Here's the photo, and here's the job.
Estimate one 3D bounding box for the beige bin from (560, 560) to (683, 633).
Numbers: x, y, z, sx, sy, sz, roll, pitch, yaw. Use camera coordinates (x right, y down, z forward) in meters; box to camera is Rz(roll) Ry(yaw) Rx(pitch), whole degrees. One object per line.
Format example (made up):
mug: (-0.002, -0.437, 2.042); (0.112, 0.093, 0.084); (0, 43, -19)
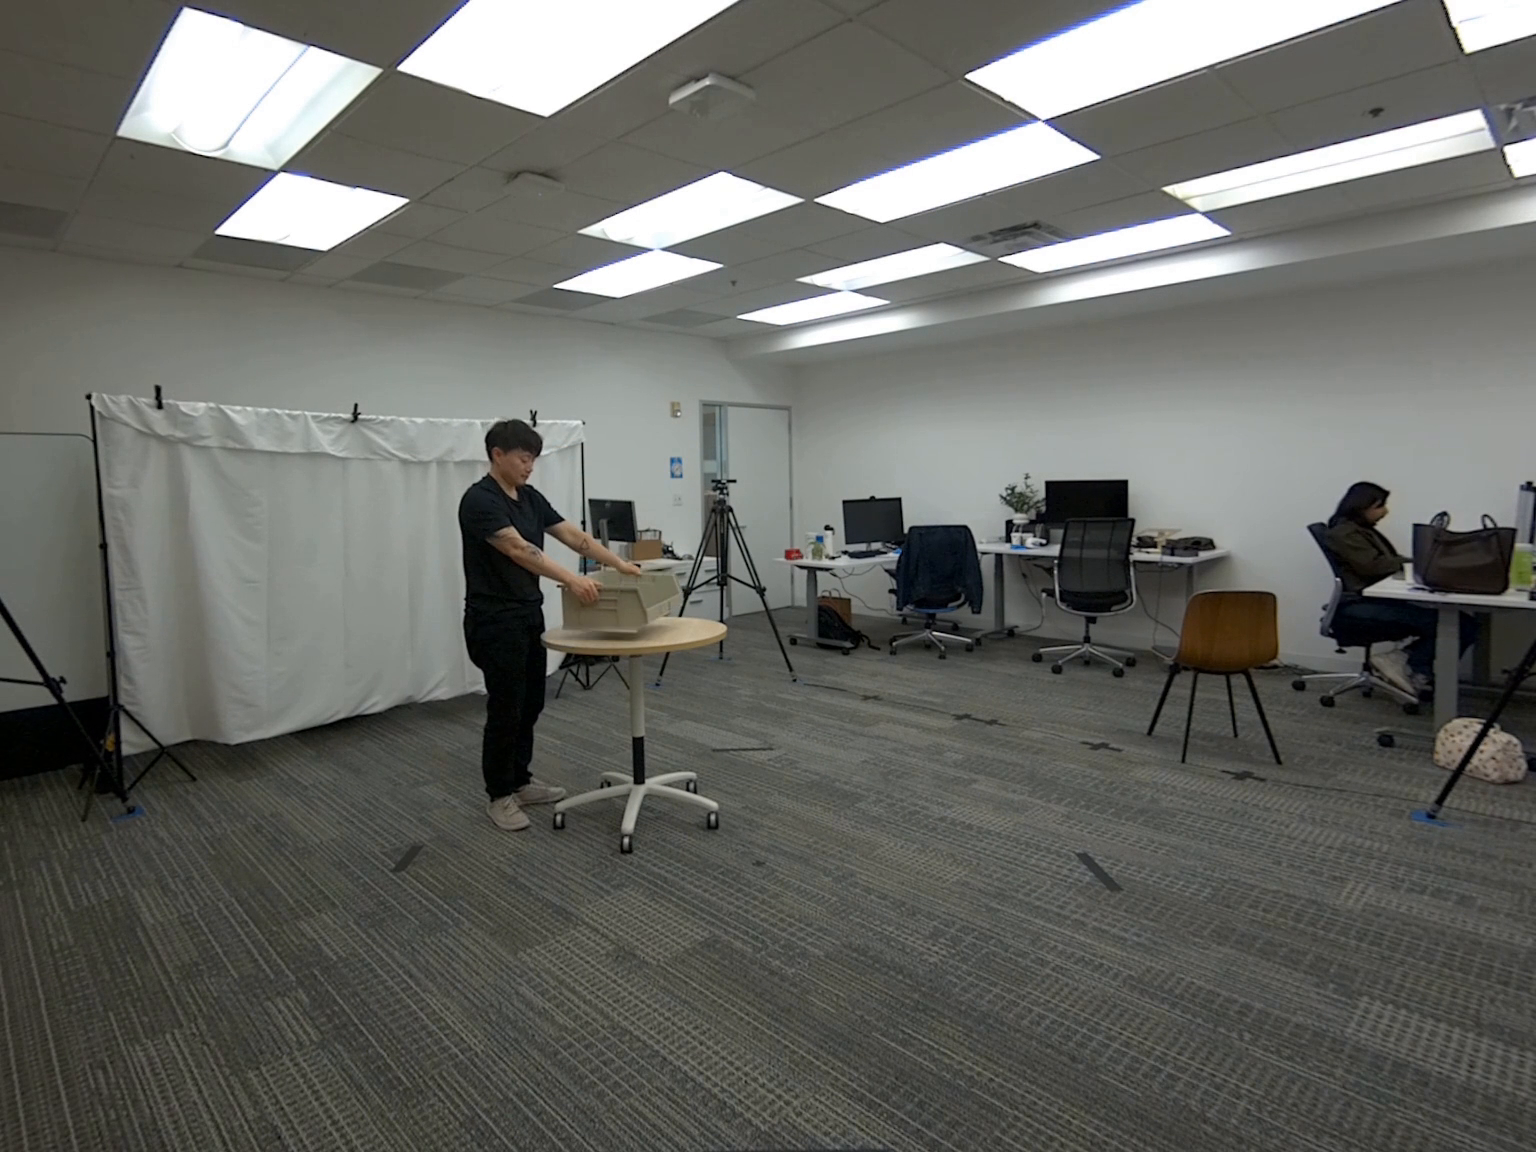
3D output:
beige bin: (-0.594, 0.093, 3.495); (0.382, 0.188, 0.419); (-1, 8, 14)
